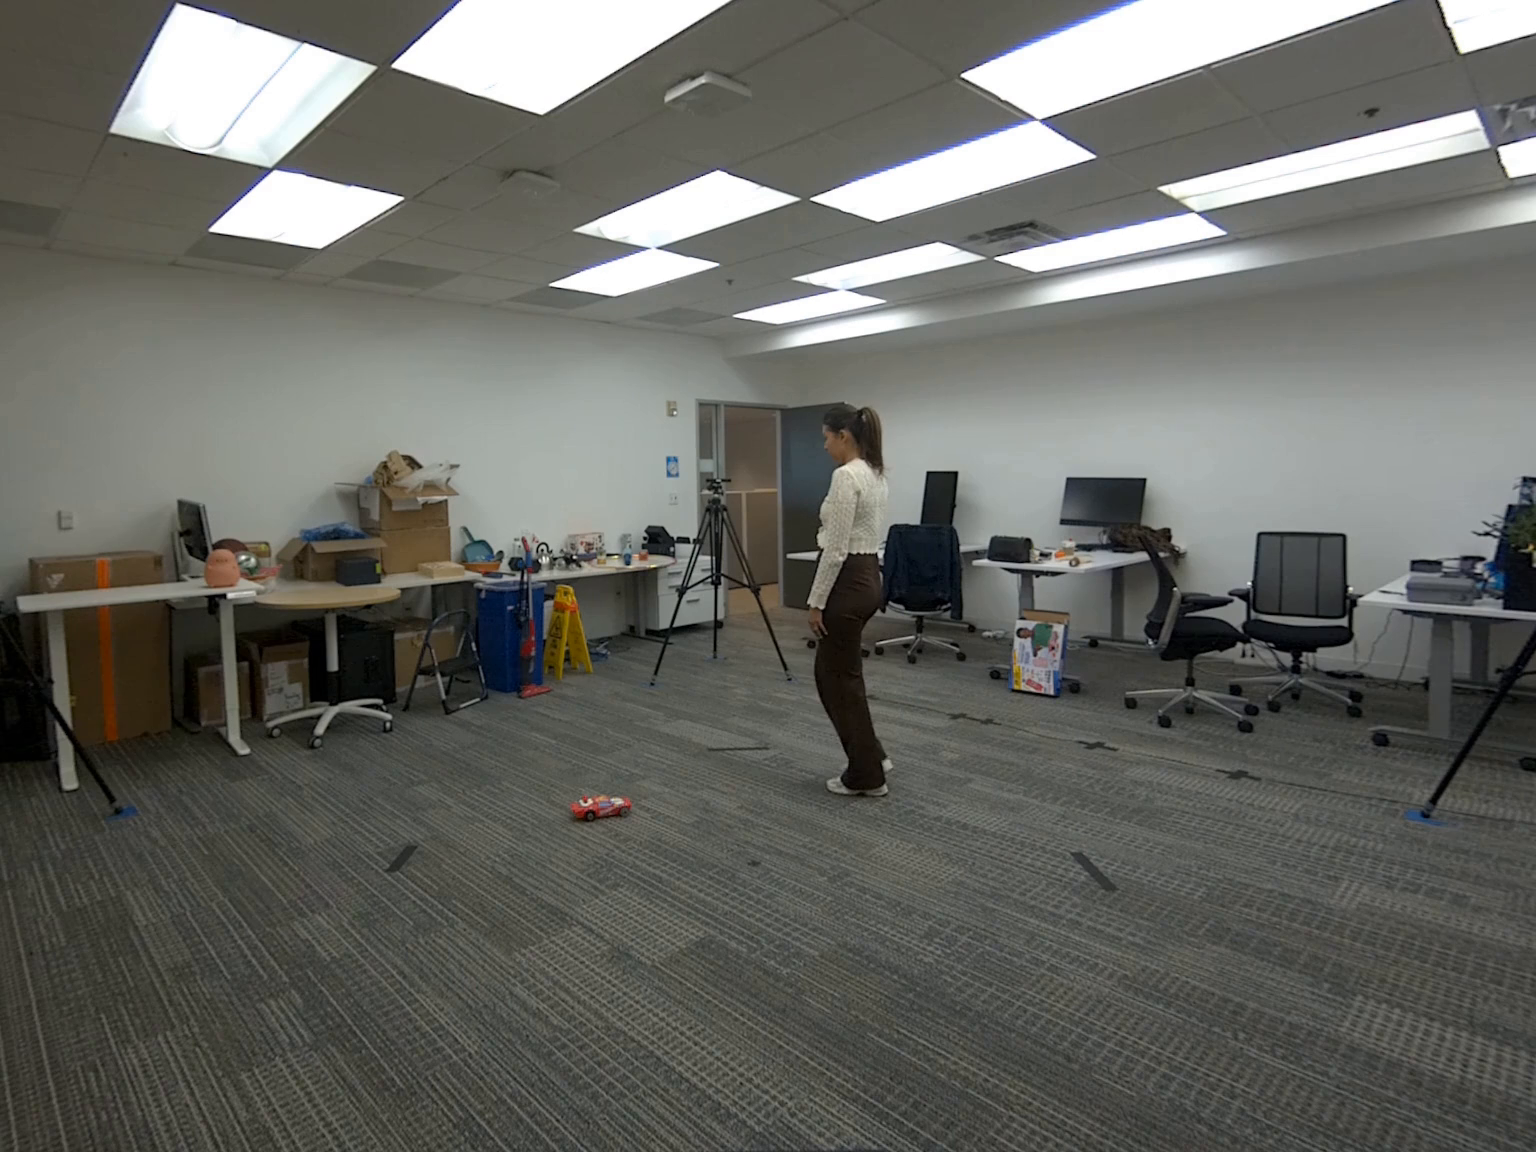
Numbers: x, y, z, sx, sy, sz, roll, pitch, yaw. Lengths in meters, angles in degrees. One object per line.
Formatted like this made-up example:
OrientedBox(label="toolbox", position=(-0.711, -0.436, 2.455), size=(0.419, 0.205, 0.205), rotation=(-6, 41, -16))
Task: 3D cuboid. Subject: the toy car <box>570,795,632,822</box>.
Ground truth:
OrientedBox(label="toy car", position=(-0.708, 0.970, 3.582), size=(0.249, 0.083, 0.133), rotation=(9, 2, -20))
